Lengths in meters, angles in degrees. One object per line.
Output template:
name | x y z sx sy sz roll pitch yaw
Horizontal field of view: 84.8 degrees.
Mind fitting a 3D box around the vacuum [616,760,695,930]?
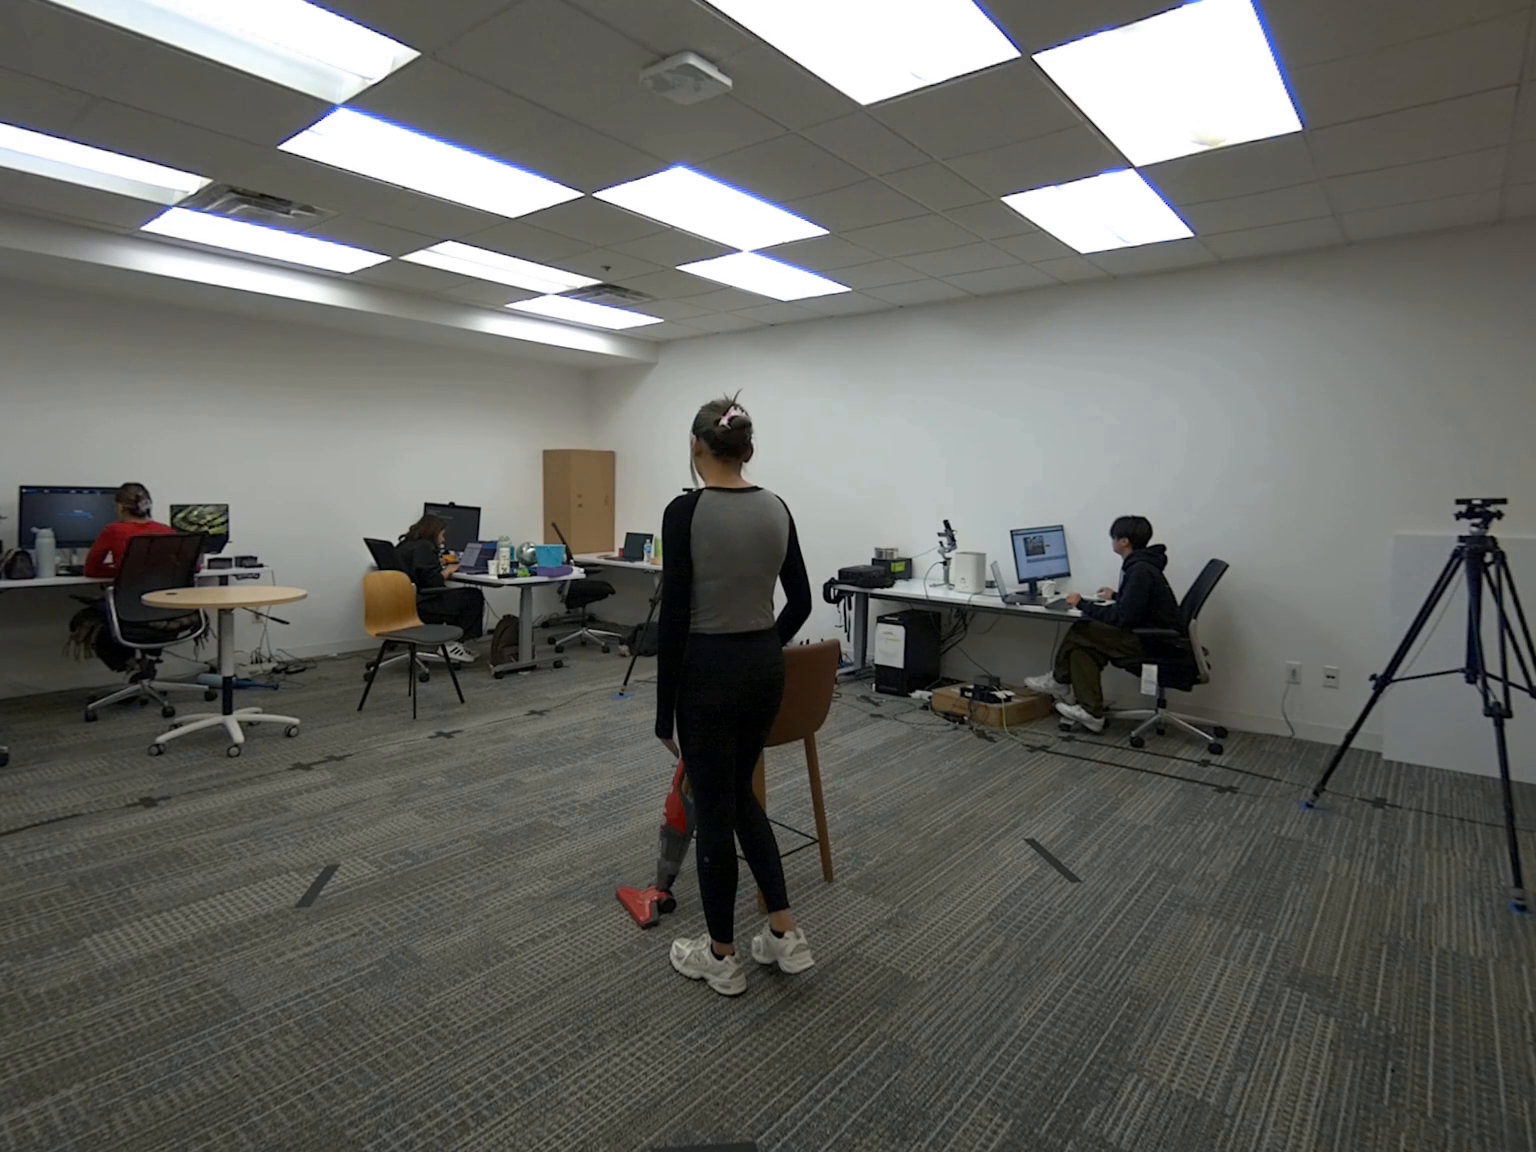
vacuum | -0.244 0.596 2.873 0.139 1.054 0.260 22 -8 -30
